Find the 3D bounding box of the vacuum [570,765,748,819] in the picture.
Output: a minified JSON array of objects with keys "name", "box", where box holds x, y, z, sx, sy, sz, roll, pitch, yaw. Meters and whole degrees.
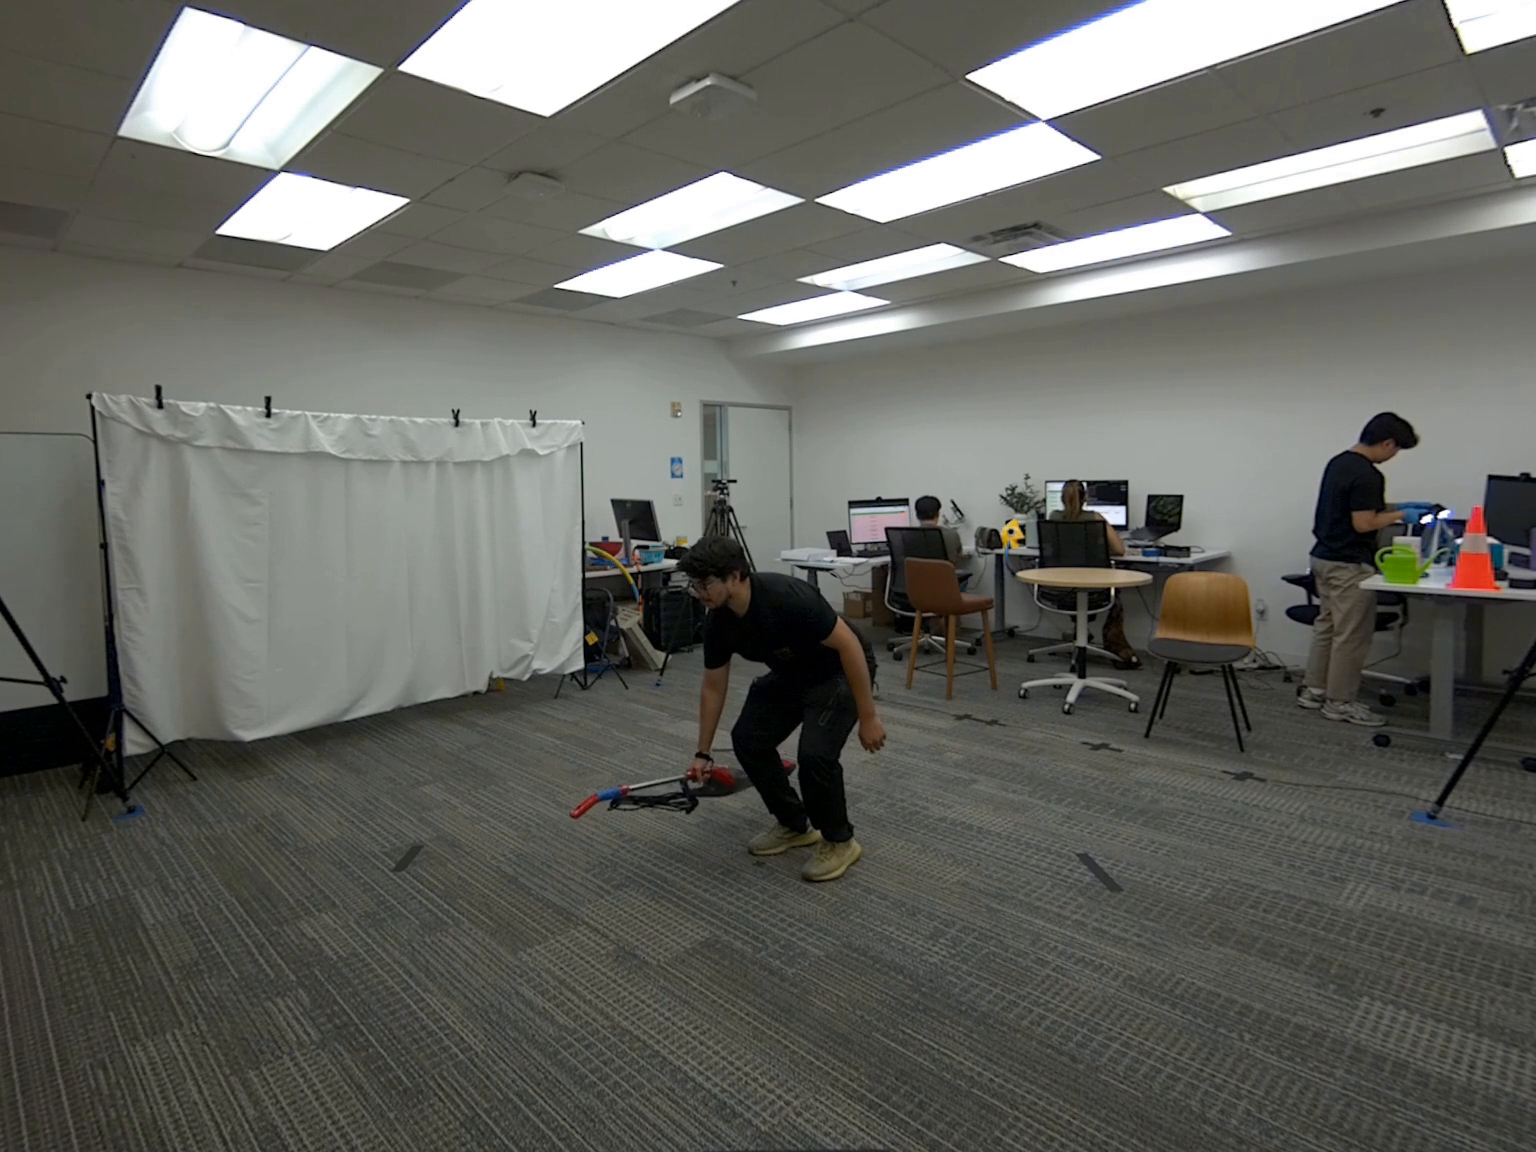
[{"name":"vacuum","box":[-0.322,0.789,3.148,0.261,0.143,1.018,10,5,37]}]
